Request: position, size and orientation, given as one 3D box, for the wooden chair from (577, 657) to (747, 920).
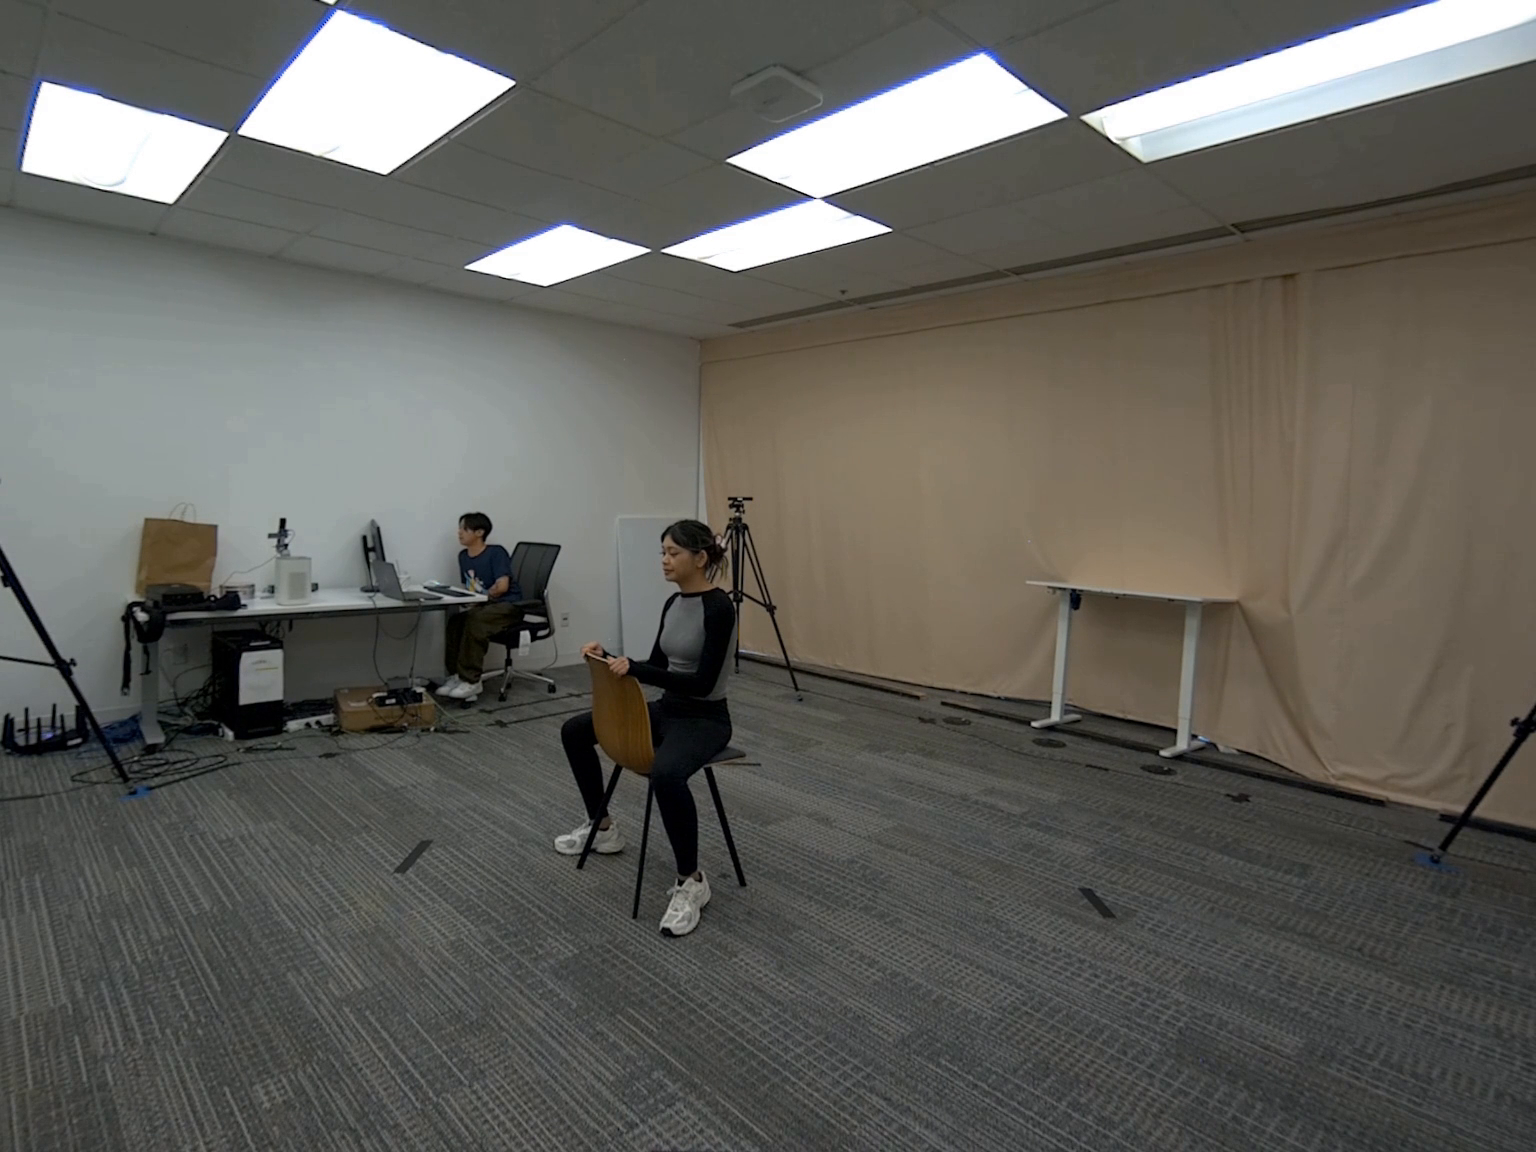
[{"bbox_3d":[-0.382,0.681,3.057,0.513,0.873,0.490,-8,8,-35],"label":"wooden chair"}]
